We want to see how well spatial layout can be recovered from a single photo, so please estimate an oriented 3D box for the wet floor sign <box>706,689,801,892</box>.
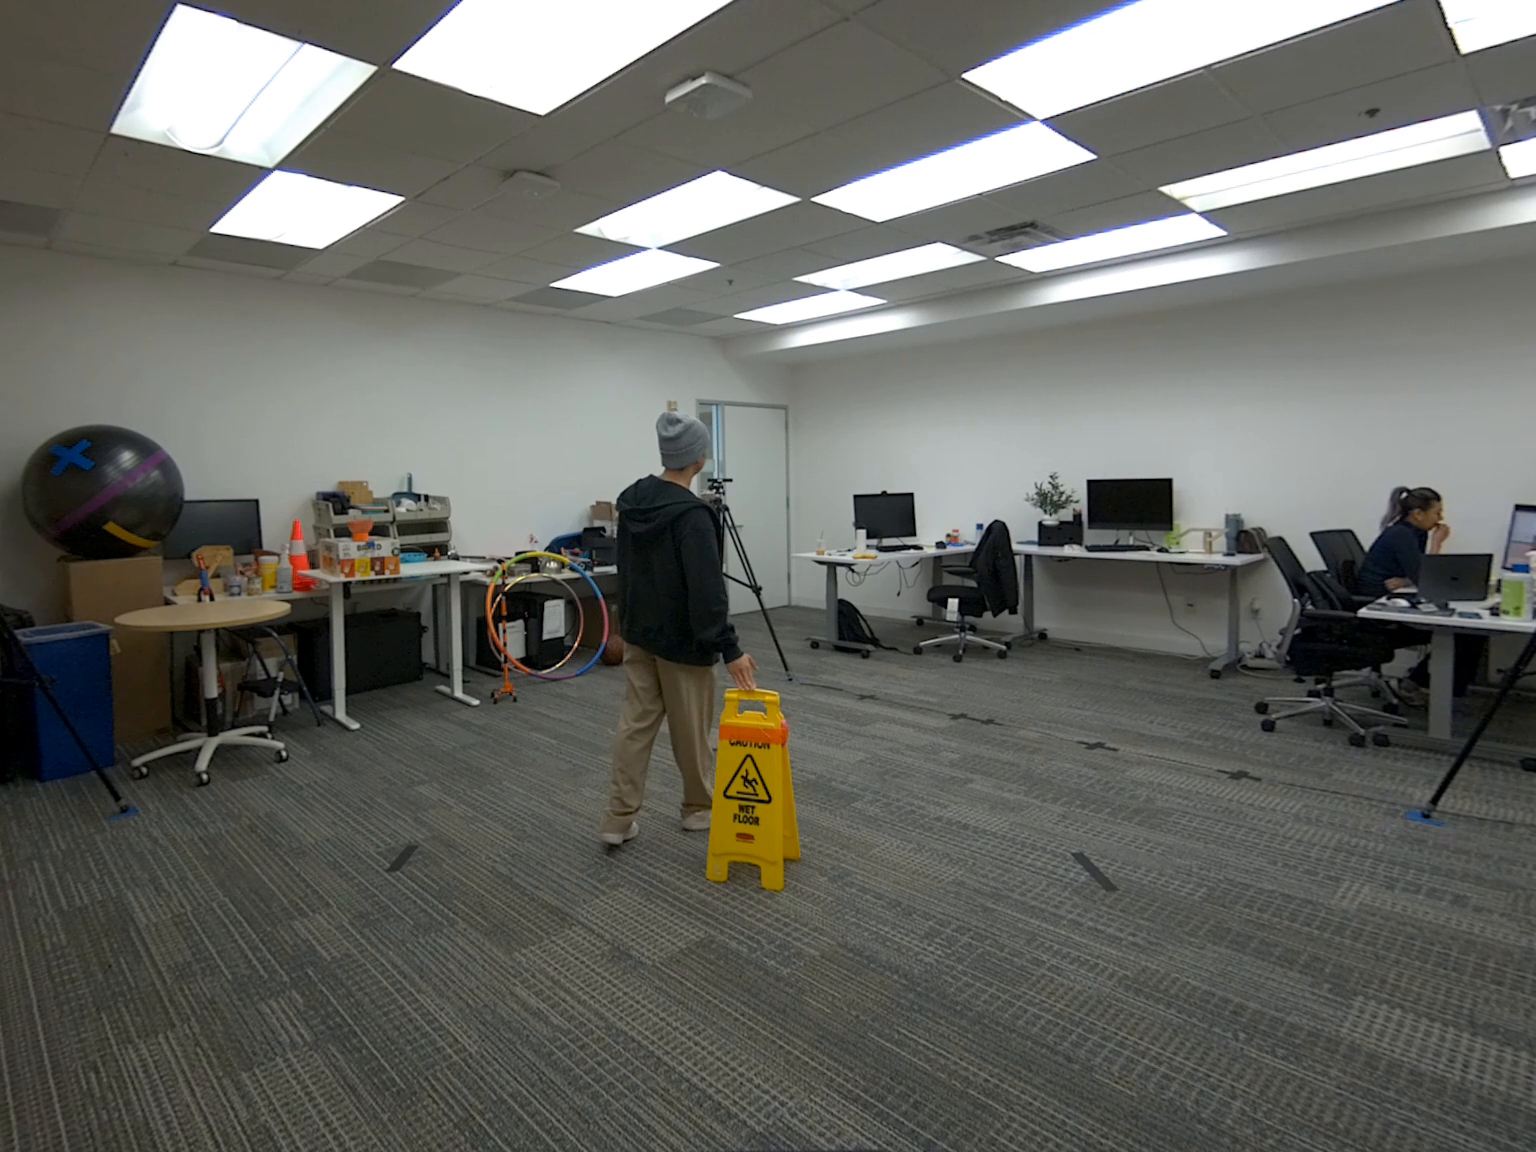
[{"bbox_3d":[-0.051,0.727,3.033,0.287,0.644,0.286,-1,4,17],"label":"wet floor sign"}]
